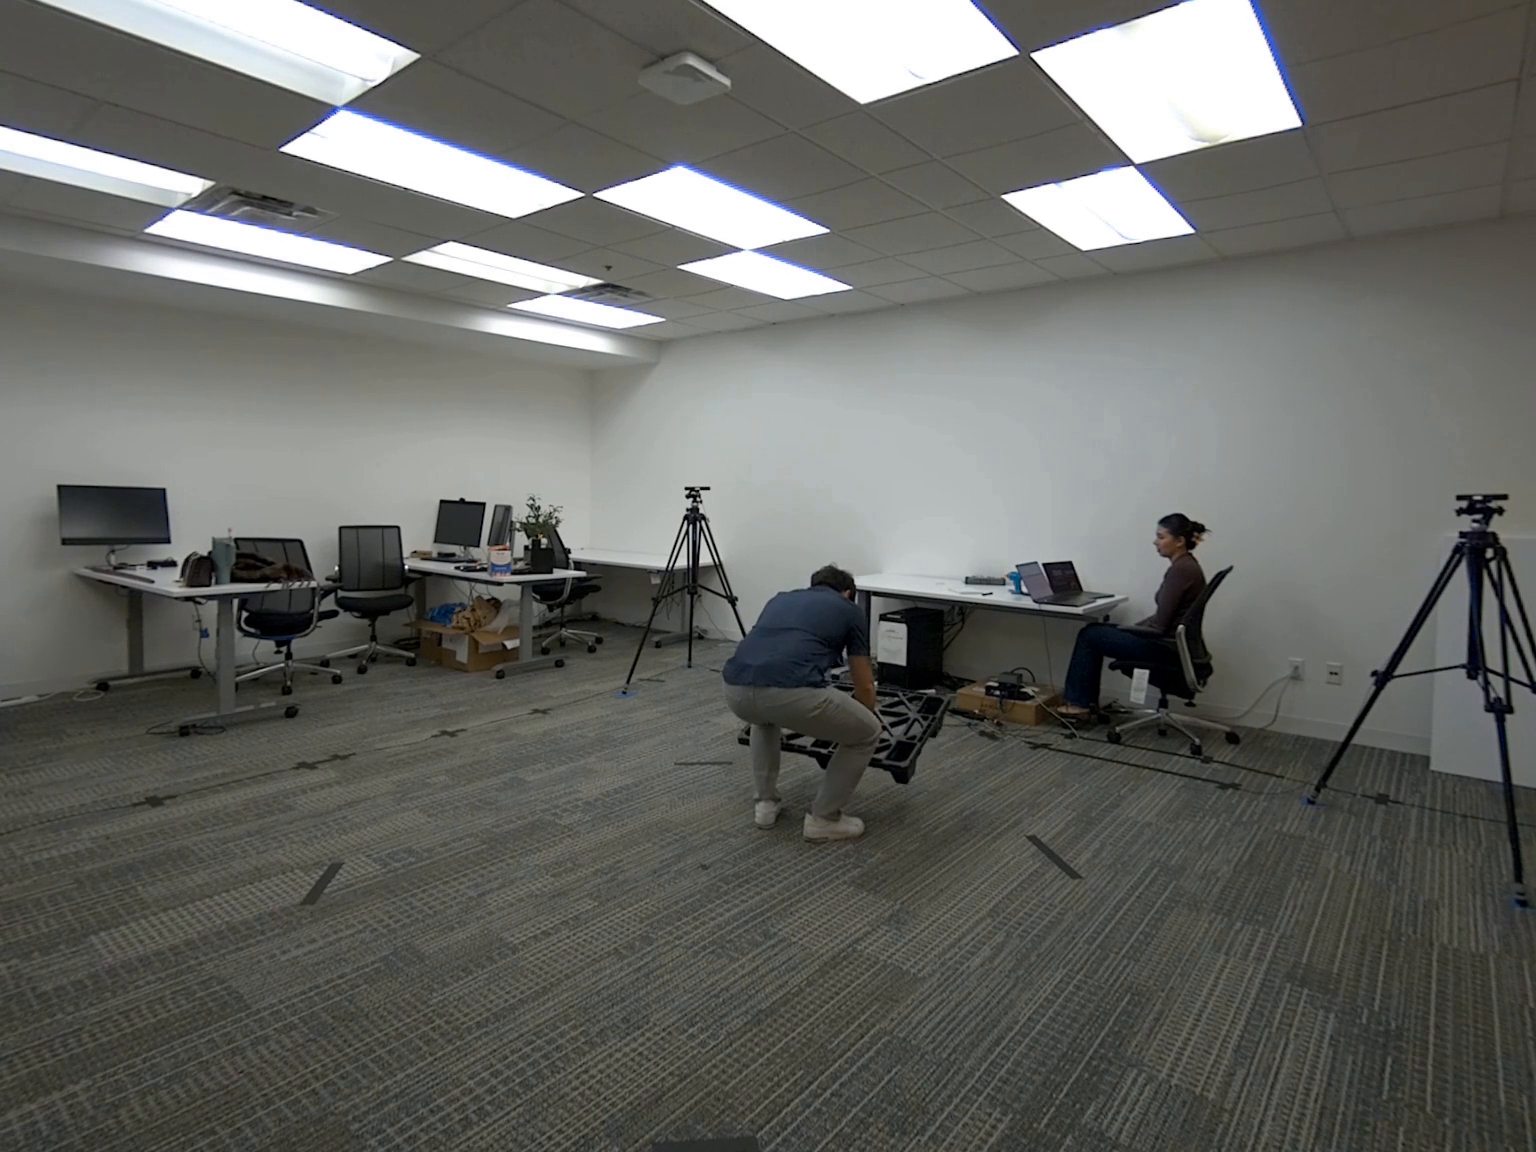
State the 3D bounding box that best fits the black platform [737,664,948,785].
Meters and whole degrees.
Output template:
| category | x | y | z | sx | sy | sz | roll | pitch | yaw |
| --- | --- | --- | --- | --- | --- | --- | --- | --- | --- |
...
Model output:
| category | x | y | z | sx | sy | sz | roll | pitch | yaw |
| --- | --- | --- | --- | --- | --- | --- | --- | --- | --- |
| black platform | 0.347 | 0.683 | 3.859 | 0.830 | 0.140 | 0.599 | 4 | 23 | 31 |
